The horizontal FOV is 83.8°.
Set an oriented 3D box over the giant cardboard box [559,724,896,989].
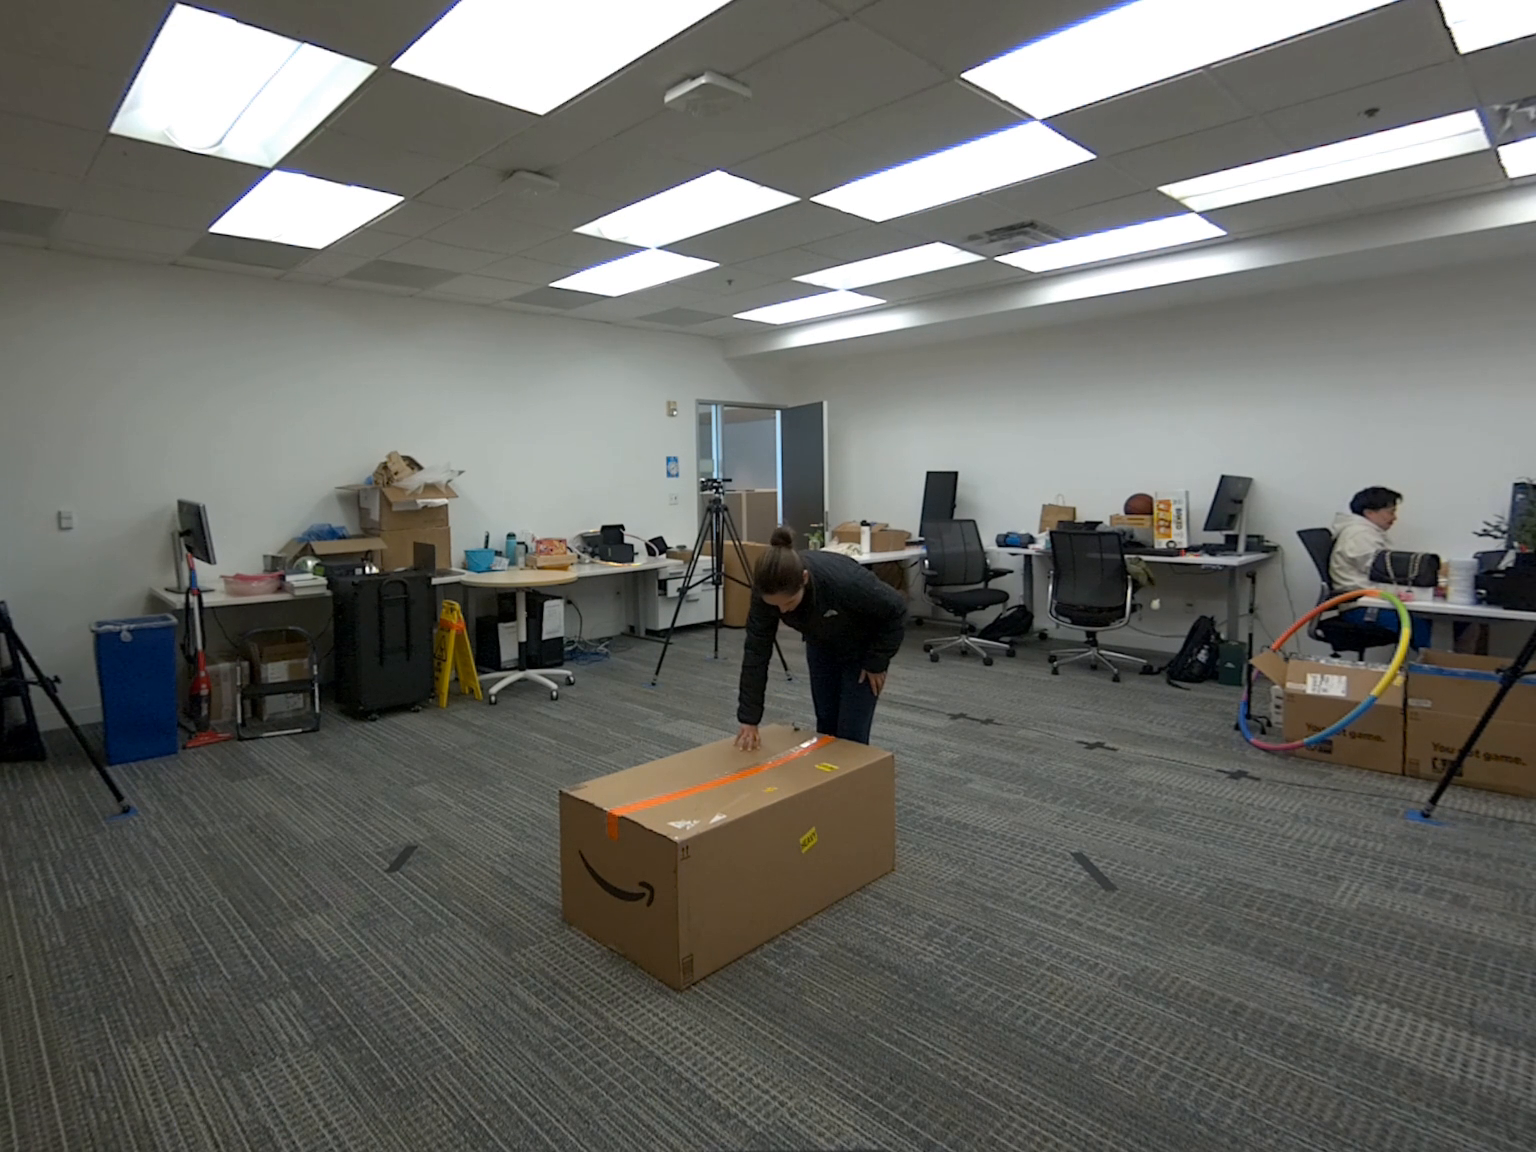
[{"bbox_3d":[-0.107,0.863,2.887,0.601,0.445,1.001,2,7,44],"label":"giant cardboard box"}]
